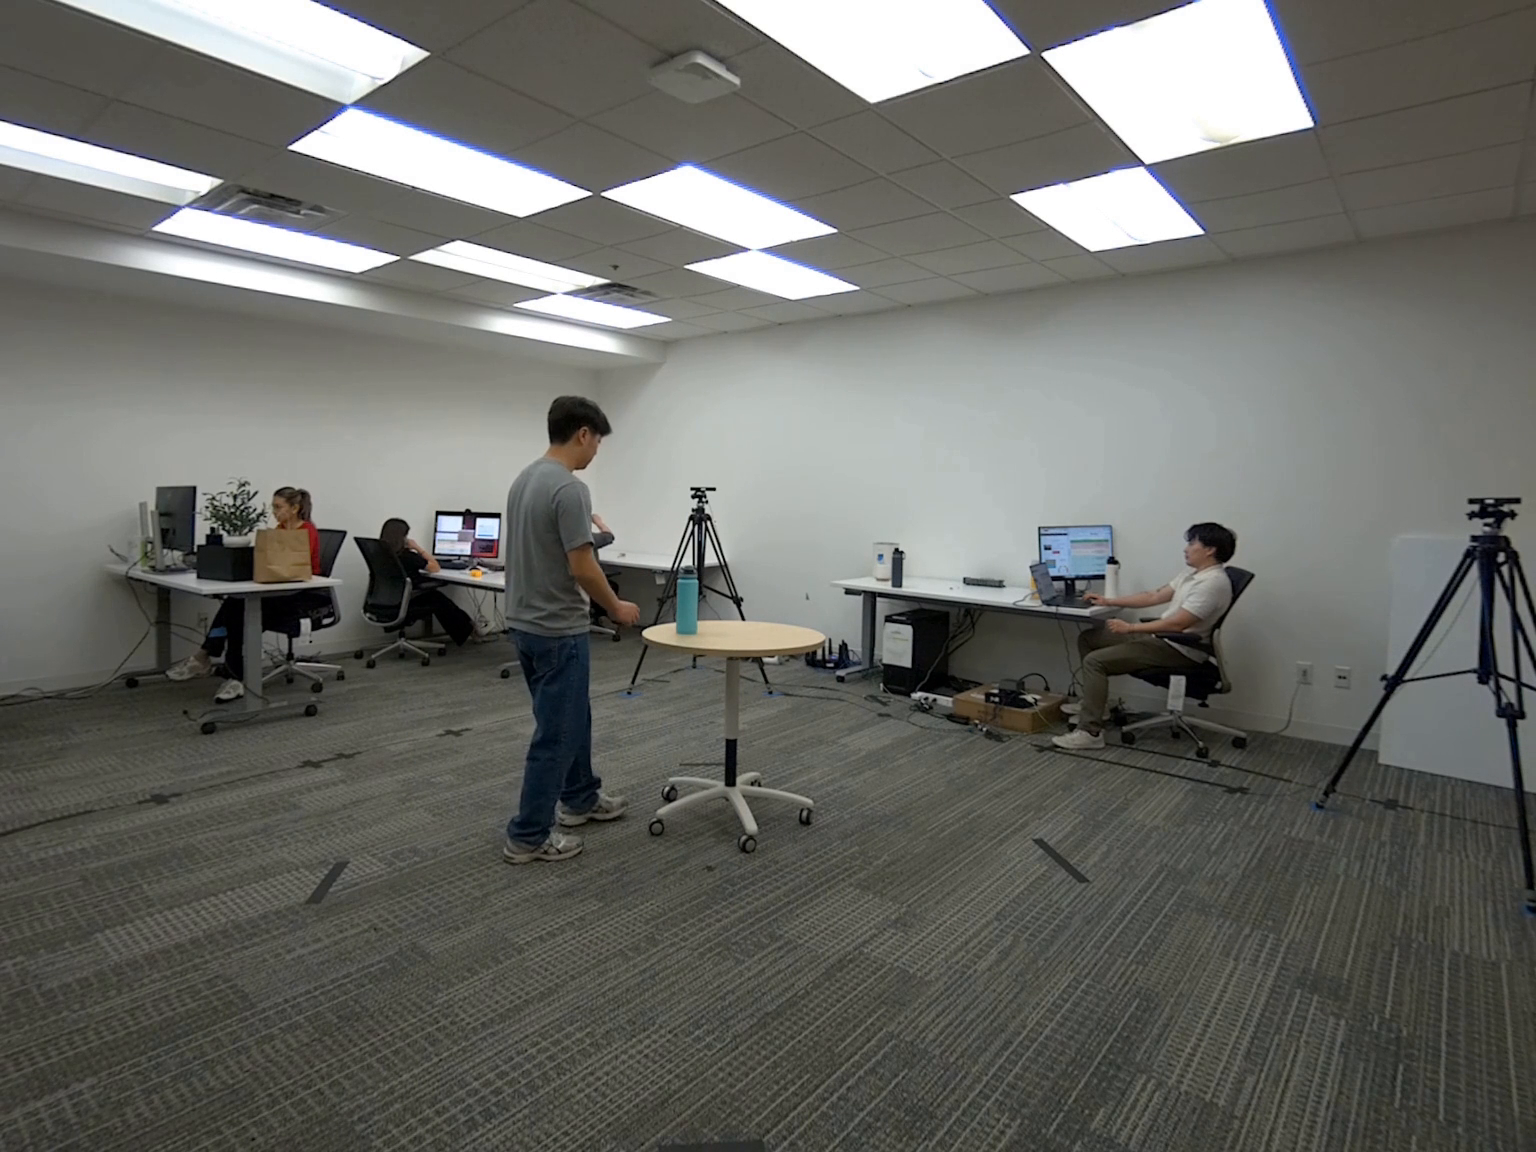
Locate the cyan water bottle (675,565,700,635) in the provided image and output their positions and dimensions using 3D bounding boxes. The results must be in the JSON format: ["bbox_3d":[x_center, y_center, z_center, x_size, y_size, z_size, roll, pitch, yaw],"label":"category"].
[{"bbox_3d":[-0.356,0.098,3.568,0.092,0.283,0.092,-1,1,-2],"label":"cyan water bottle"}]
